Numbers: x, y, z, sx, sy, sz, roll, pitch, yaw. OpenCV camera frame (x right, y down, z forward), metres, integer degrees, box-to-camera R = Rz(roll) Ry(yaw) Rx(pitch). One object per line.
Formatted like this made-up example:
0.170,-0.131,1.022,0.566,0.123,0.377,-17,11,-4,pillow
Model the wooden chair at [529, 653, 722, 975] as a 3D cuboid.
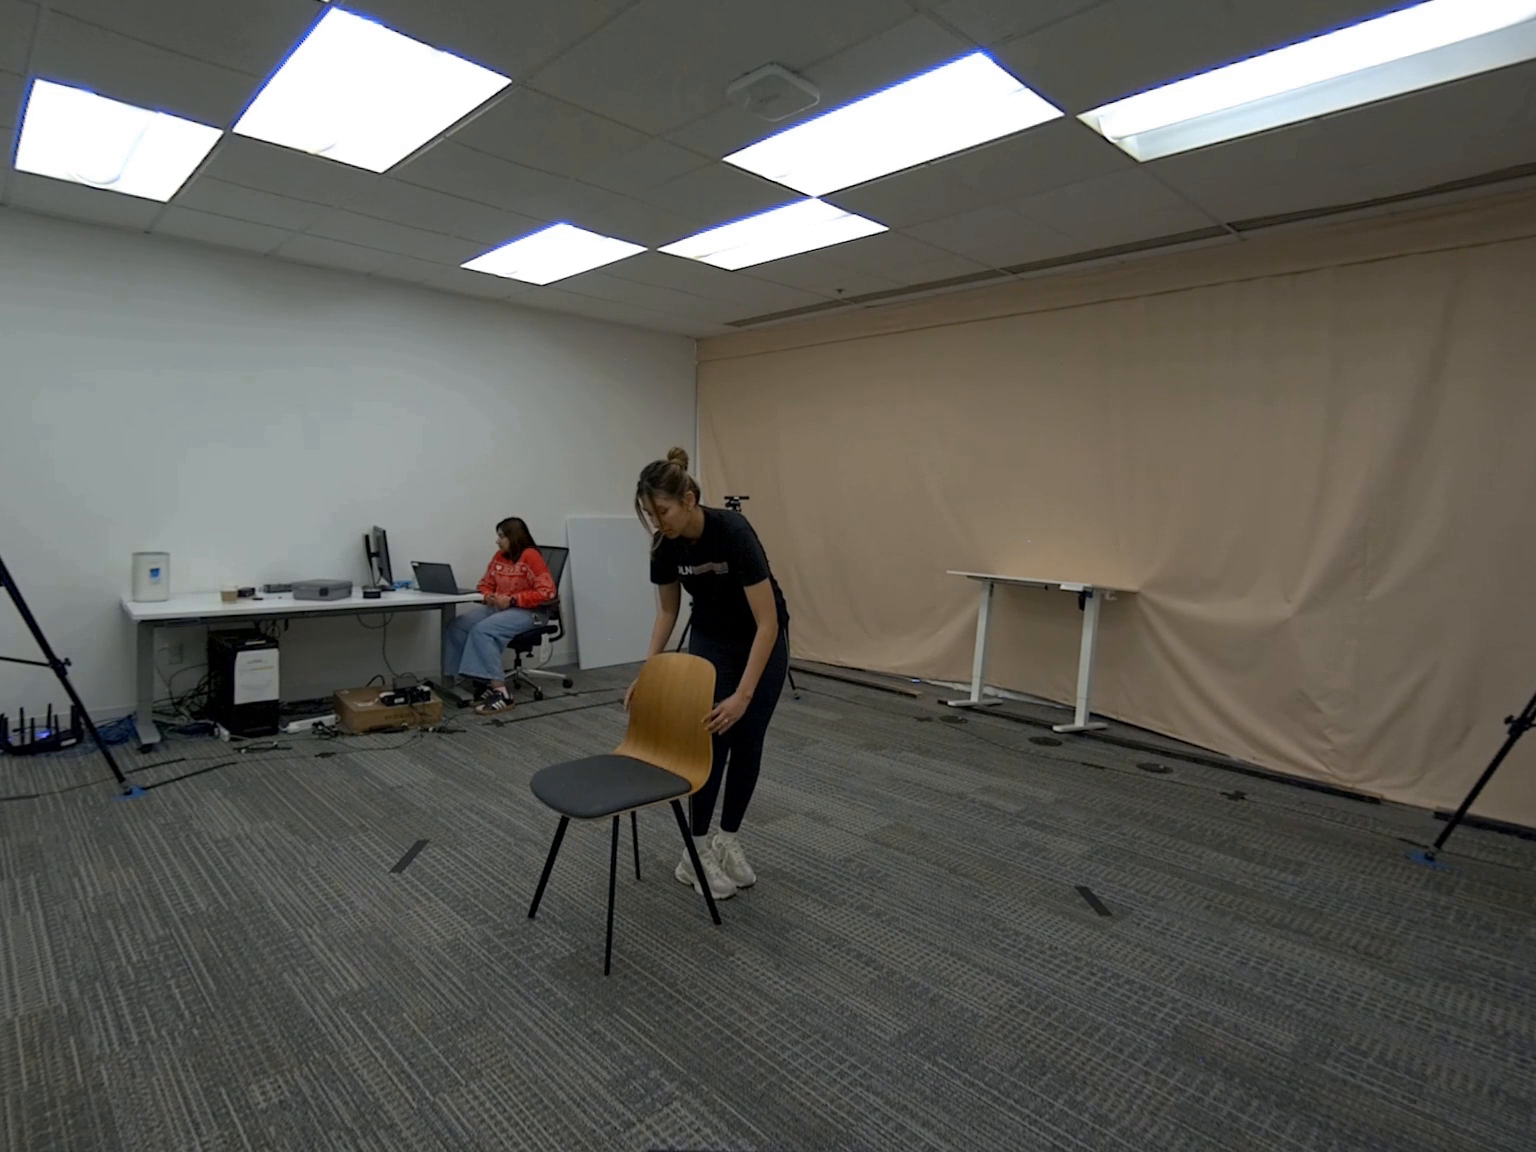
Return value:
-0.469,0.704,2.710,0.510,0.877,0.490,5,0,-44,wooden chair
